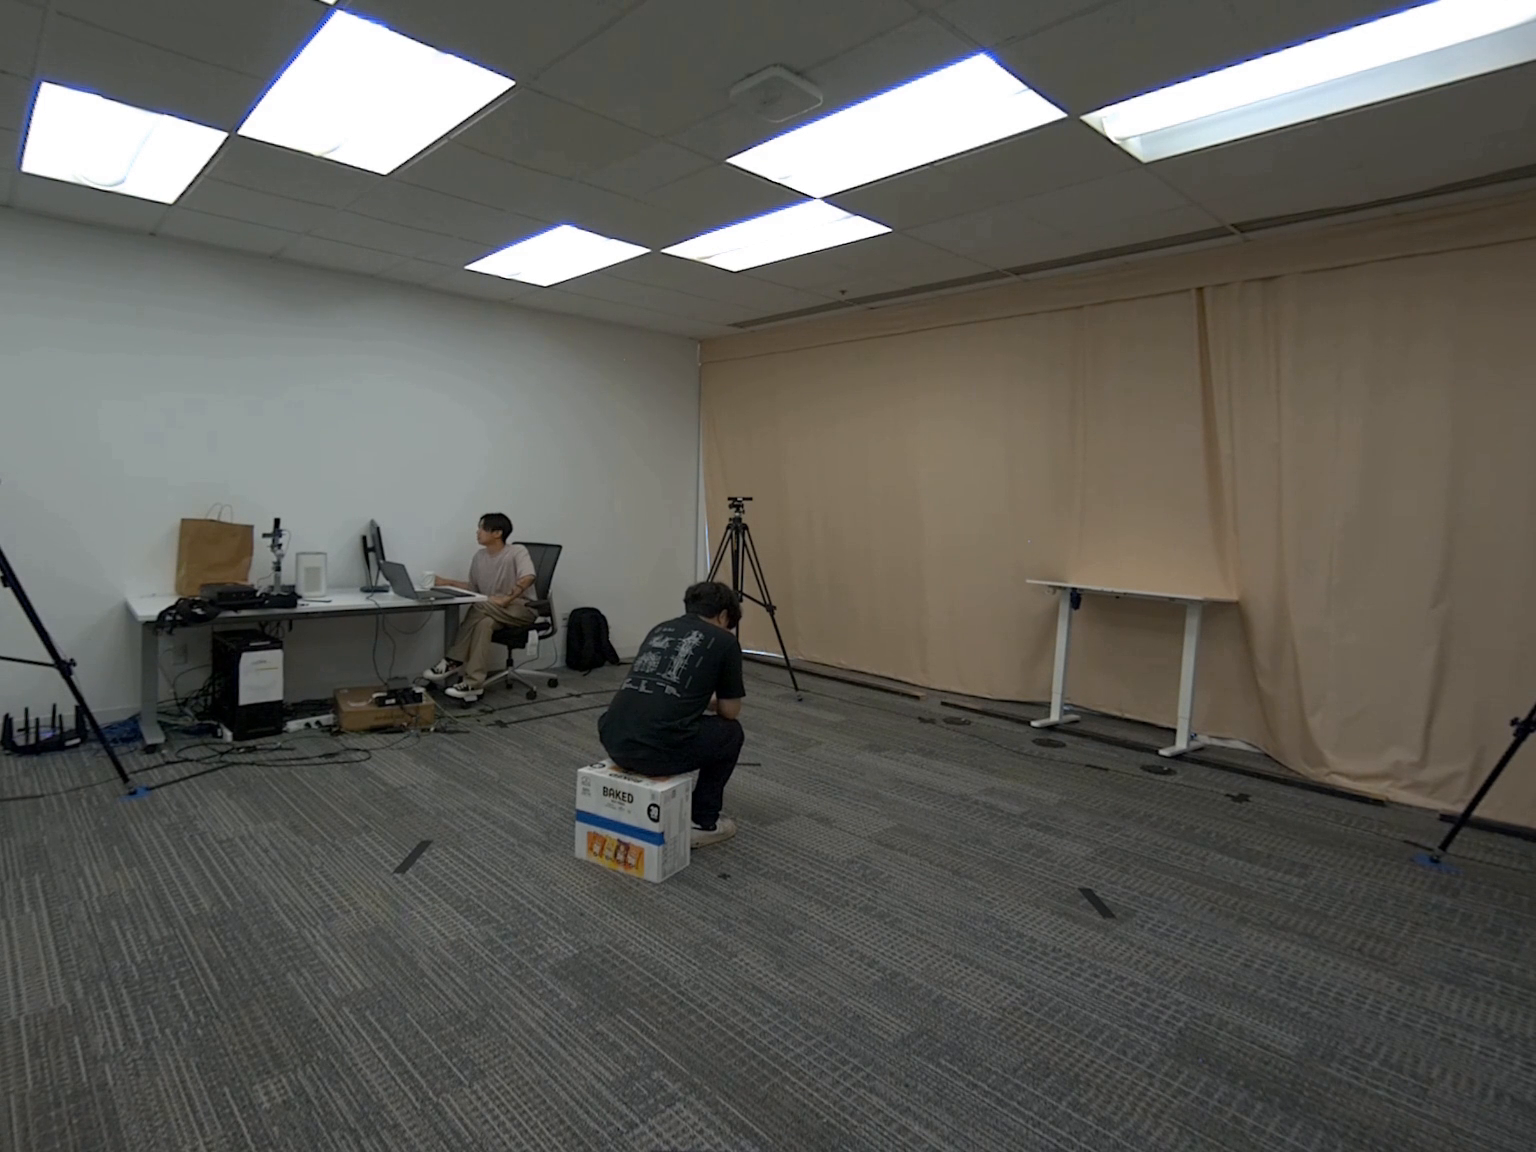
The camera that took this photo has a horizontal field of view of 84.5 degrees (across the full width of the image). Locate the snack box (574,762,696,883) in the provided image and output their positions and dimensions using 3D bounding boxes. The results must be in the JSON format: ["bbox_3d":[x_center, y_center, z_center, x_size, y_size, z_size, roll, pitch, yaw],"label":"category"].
[{"bbox_3d":[-0.523,0.924,3.209,0.414,0.339,0.202,5,6,31],"label":"snack box"}]
